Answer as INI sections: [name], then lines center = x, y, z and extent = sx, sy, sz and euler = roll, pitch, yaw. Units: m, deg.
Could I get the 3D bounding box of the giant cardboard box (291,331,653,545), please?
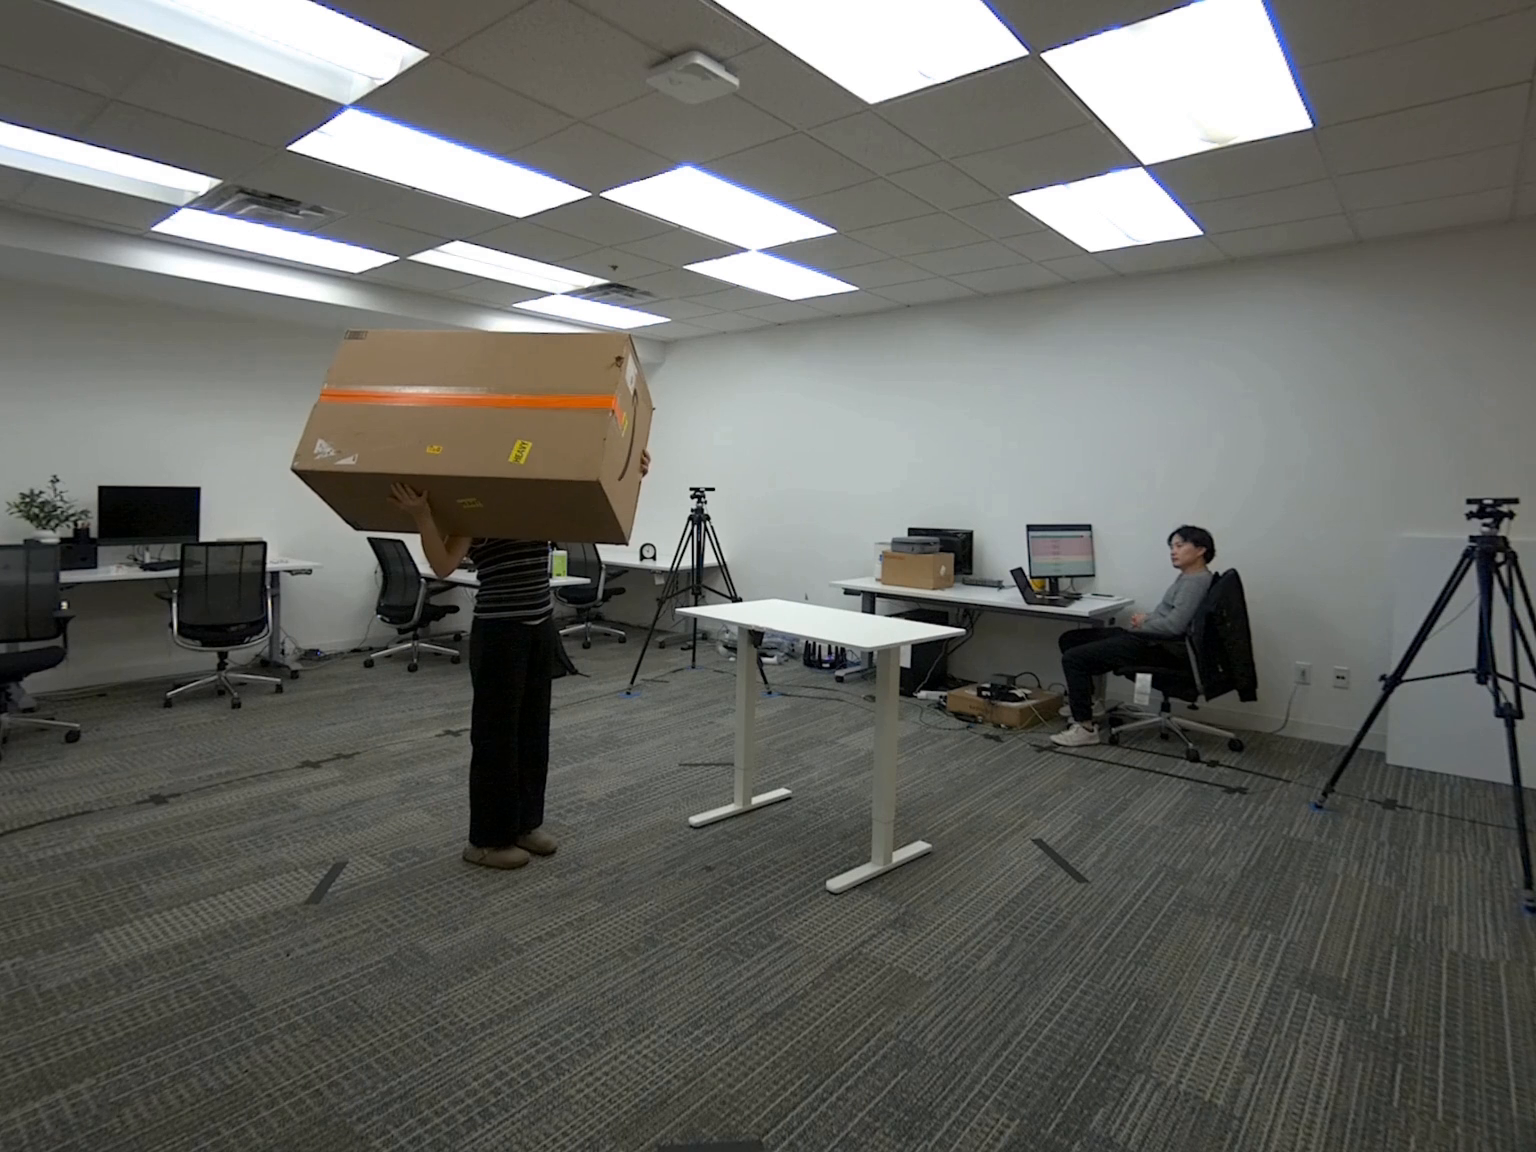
[giant cardboard box]
center = -0.978, -0.478, 2.911
extent = 1.037, 0.589, 0.413
euler = 3, -26, 9
